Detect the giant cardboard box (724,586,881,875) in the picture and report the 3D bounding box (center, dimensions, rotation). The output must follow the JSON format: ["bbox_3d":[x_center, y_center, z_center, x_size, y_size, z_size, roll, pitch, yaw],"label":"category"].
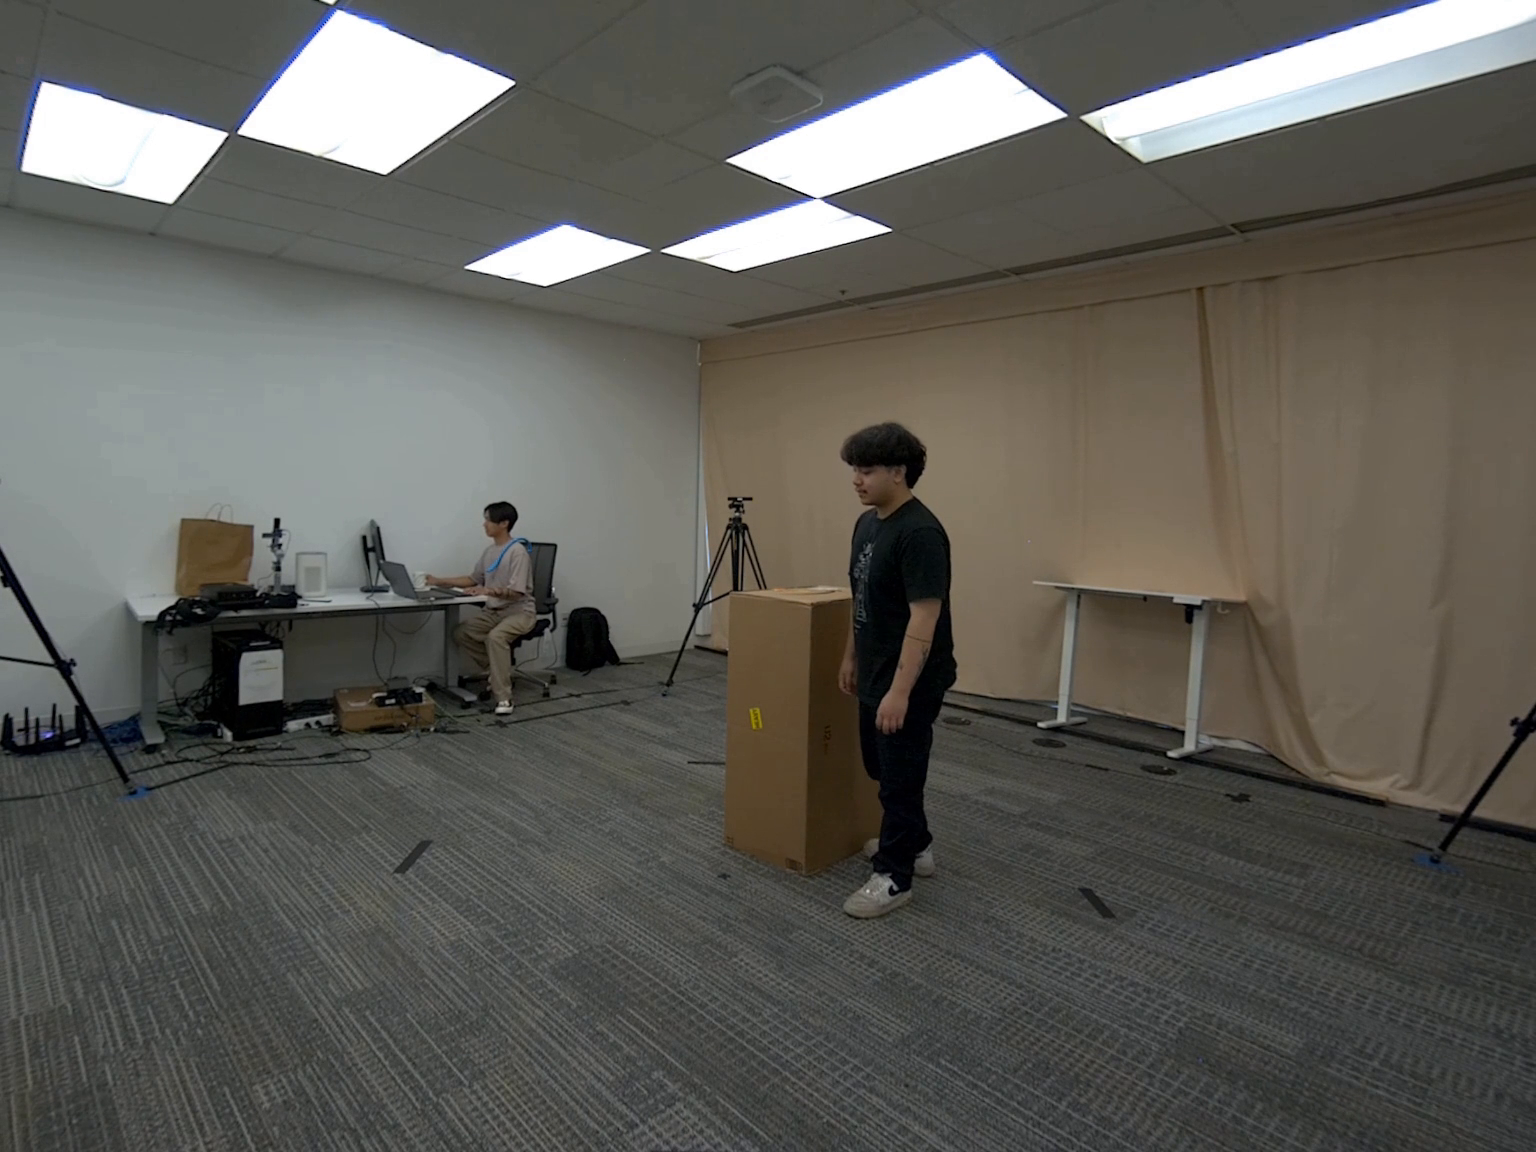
[{"bbox_3d":[0.170,0.575,3.438,0.458,1.025,0.570,4,4,44],"label":"giant cardboard box"}]
